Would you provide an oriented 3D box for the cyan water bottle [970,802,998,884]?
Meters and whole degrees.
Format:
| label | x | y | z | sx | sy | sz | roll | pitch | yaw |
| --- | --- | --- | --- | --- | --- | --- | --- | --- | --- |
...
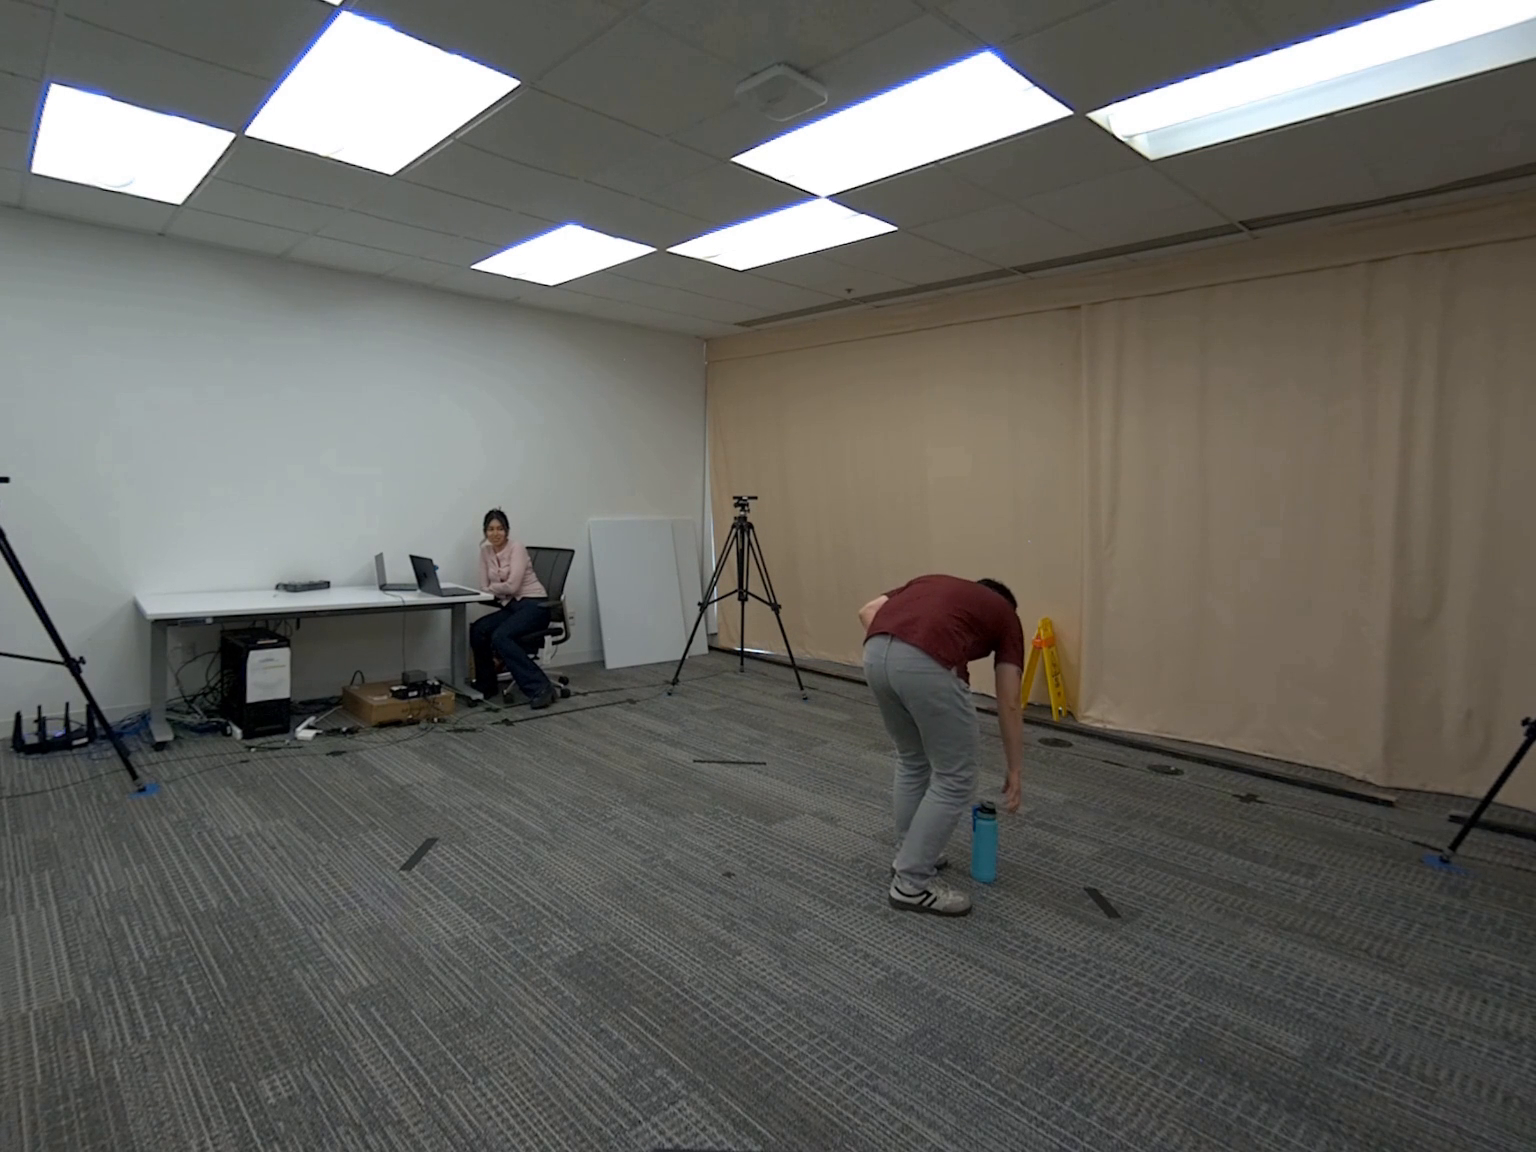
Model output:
| label | x | y | z | sx | sy | sz | roll | pitch | yaw |
| --- | --- | --- | --- | --- | --- | --- | --- | --- | --- |
| cyan water bottle | 0.796 | 0.987 | 3.139 | 0.092 | 0.283 | 0.092 | 1 | 1 | -1 |
